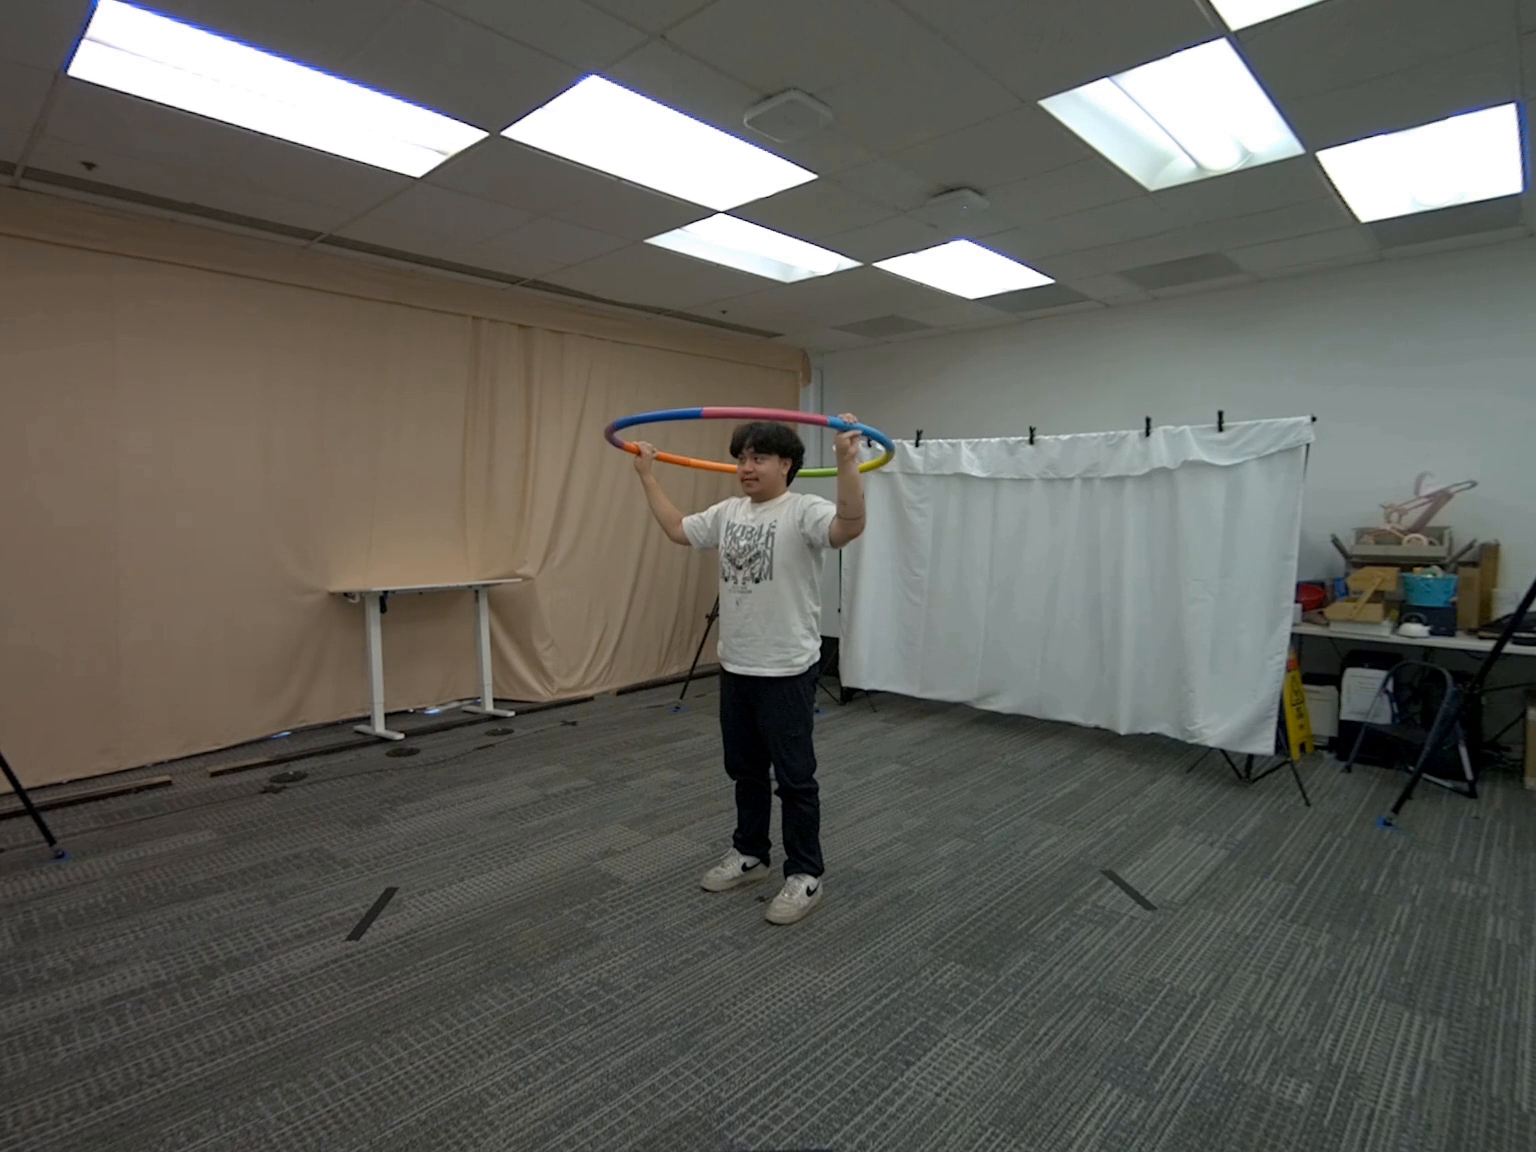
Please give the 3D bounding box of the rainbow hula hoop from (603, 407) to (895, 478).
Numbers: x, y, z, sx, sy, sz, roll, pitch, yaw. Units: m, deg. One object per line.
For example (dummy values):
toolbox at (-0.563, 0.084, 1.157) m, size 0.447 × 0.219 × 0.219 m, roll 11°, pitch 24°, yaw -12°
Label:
rainbow hula hoop at (-0.068, -0.445, 2.880) m, size 0.985 × 0.052 × 0.984 m, roll 5°, pitch -3°, yaw -2°
